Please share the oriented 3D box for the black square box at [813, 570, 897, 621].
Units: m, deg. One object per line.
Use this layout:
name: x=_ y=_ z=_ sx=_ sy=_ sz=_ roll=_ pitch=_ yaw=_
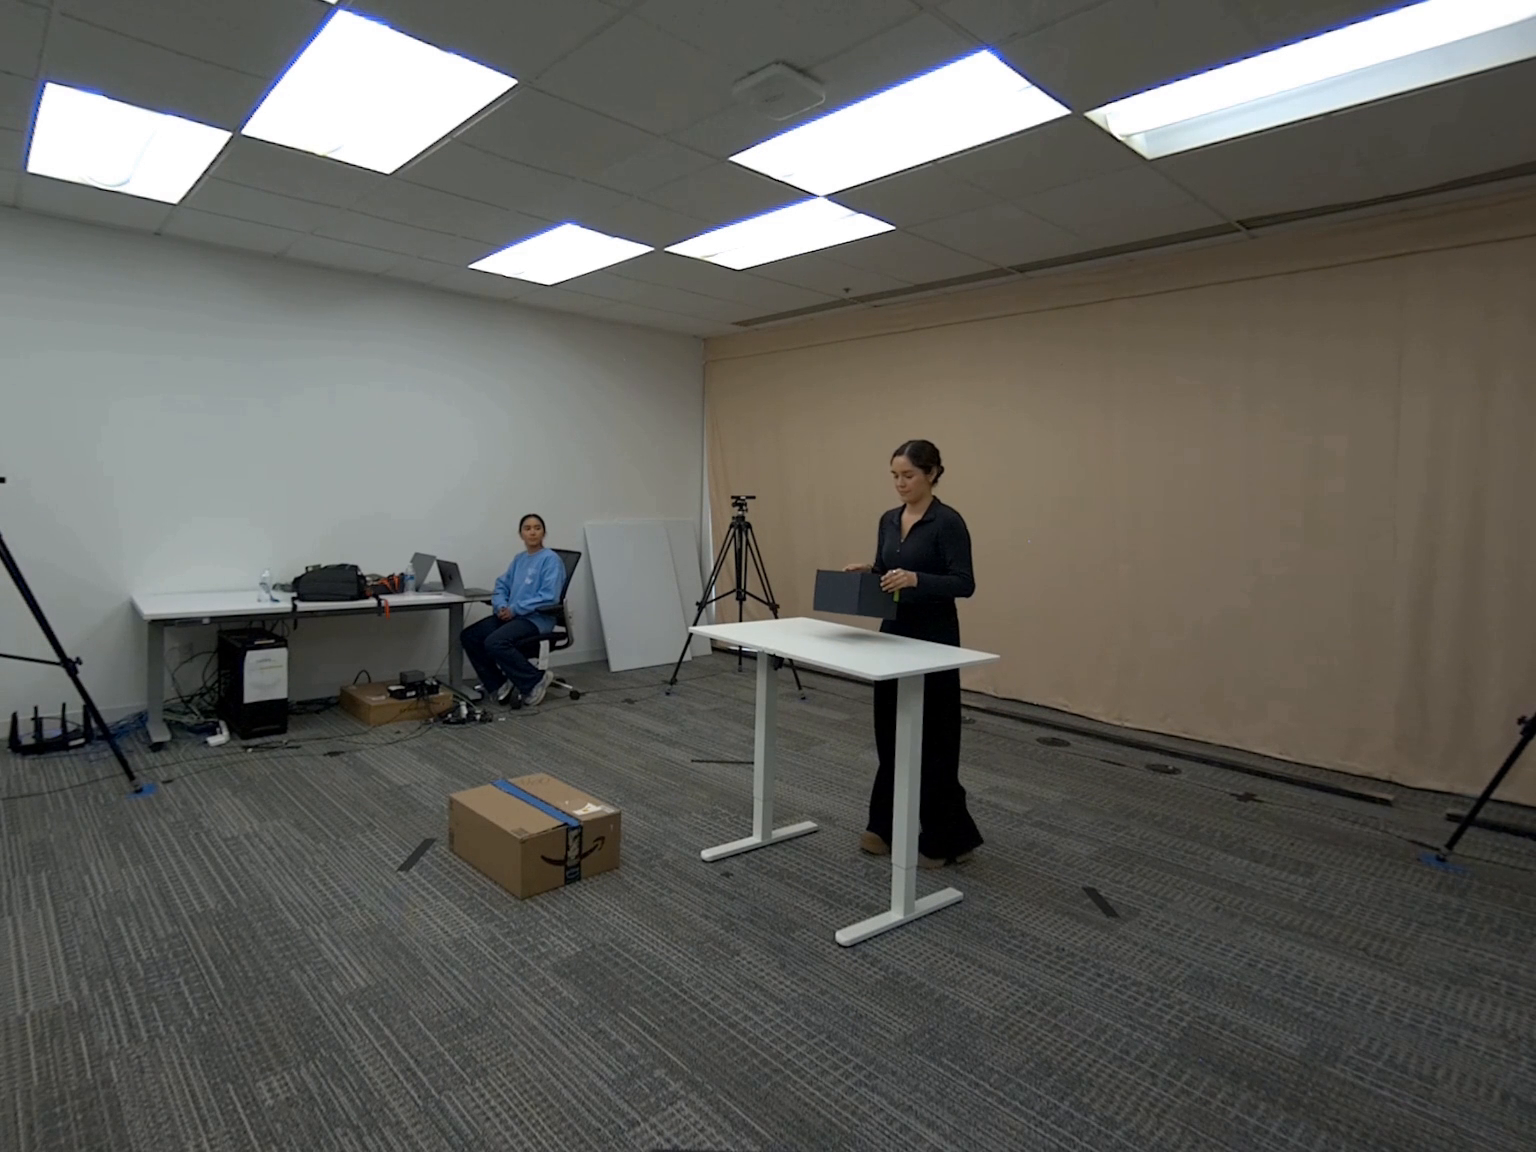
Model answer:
black square box: x=0.330 y=0.073 z=3.132 sx=0.211 sy=0.156 sz=0.233 roll=9 pitch=-3 yaw=-38
